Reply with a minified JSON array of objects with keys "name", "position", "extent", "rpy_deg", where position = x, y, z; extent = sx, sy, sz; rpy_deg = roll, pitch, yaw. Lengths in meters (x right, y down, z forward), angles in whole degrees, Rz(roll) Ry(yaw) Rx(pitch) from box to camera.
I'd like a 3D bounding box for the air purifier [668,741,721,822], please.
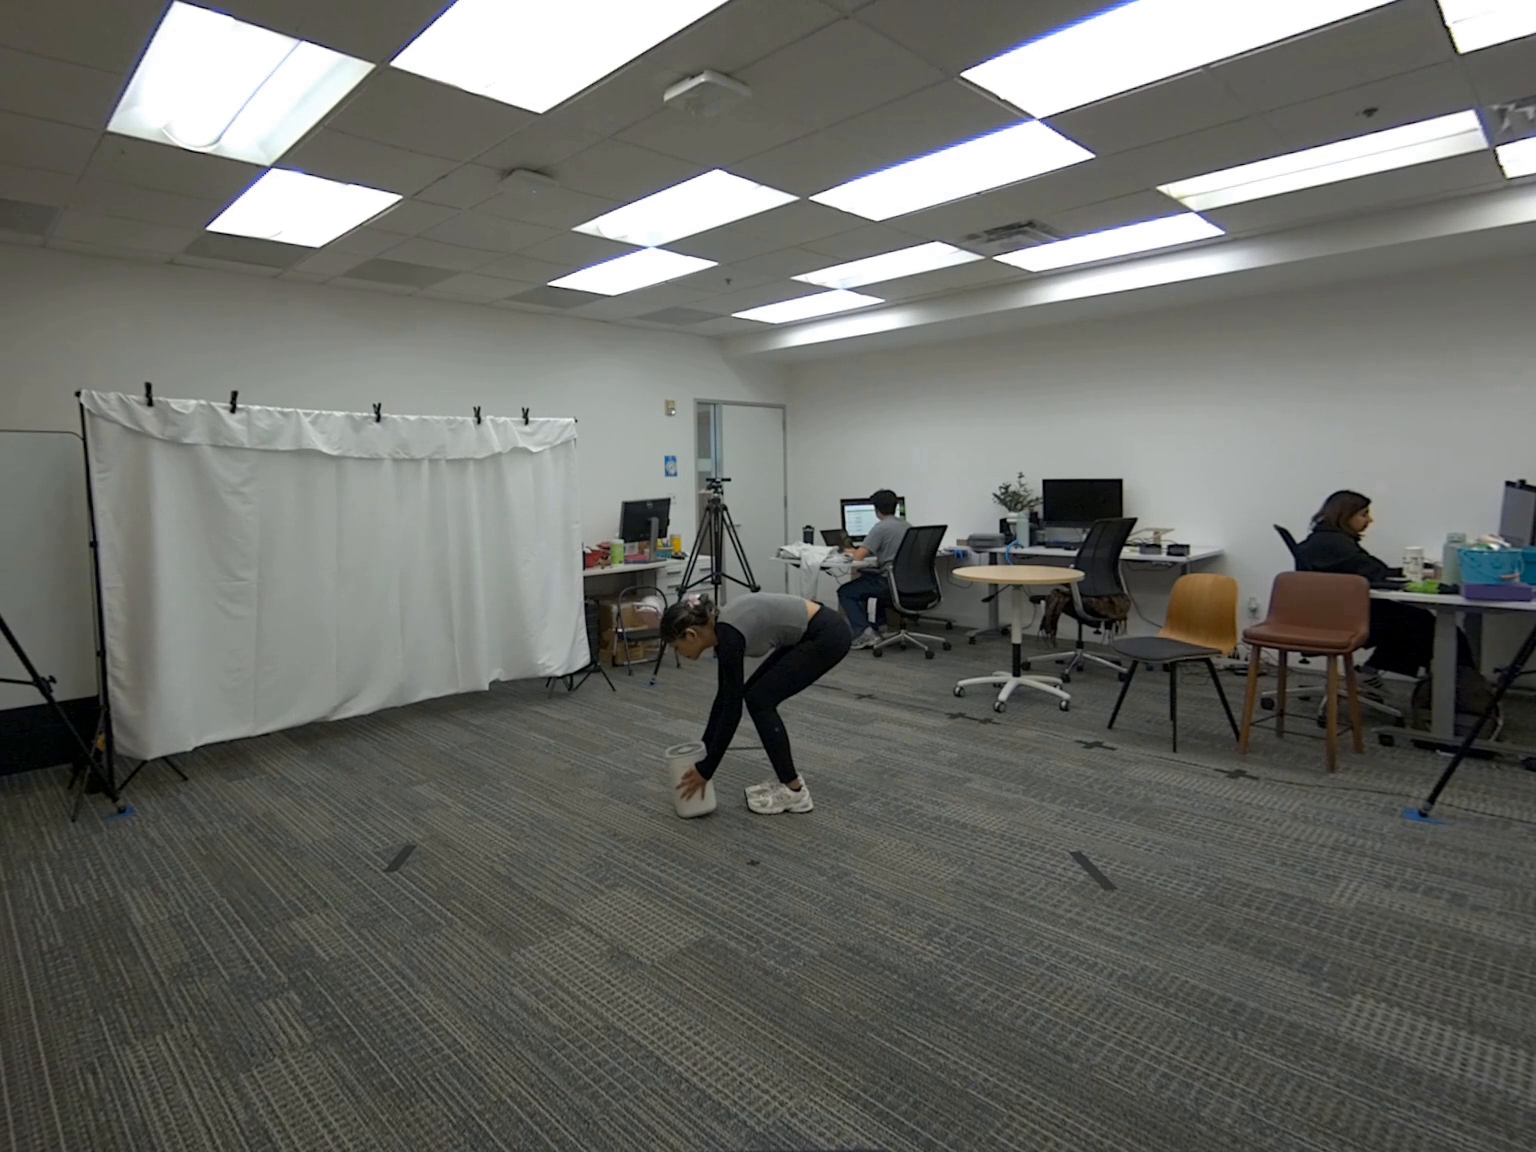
[{"name":"air purifier","position":[-0.310,0.850,3.580],"extent":[0.170,0.264,0.173],"rpy_deg":[-7,4,-9]}]
